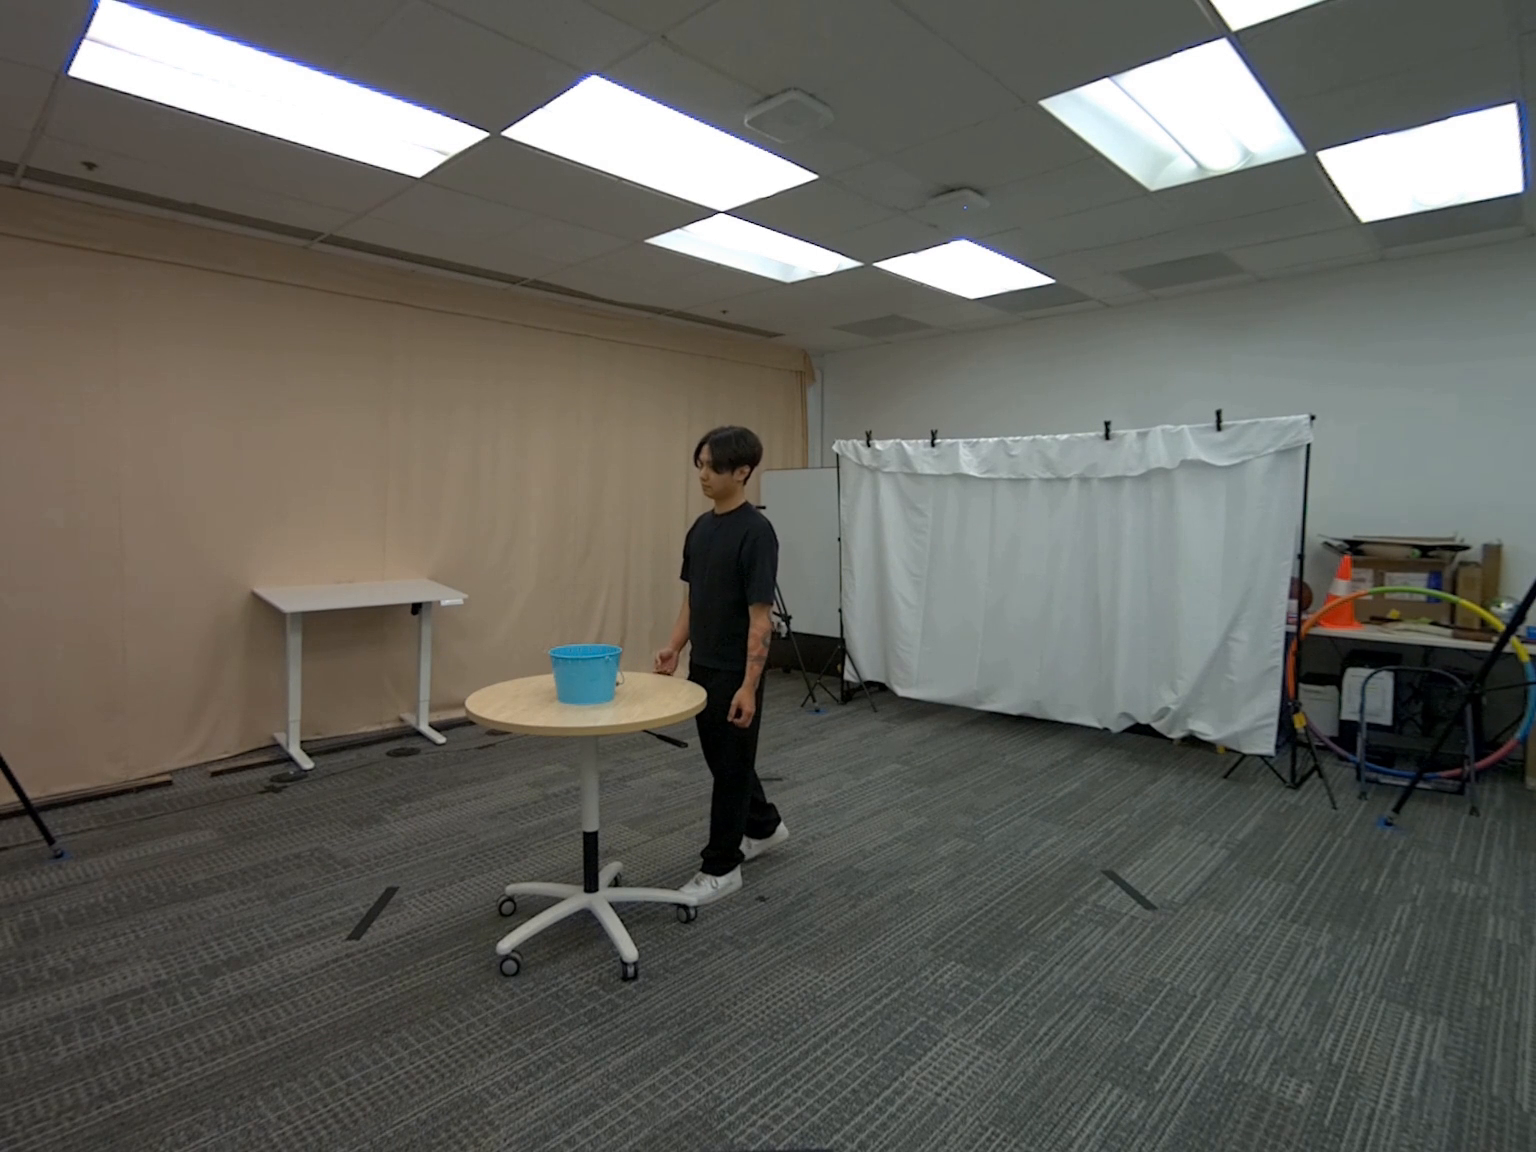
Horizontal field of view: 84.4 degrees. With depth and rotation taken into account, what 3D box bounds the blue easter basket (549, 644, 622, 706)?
[{"bbox_3d":[-0.580,0.315,2.671,0.243,0.155,0.244,0,5,-2],"label":"blue easter basket"}]
